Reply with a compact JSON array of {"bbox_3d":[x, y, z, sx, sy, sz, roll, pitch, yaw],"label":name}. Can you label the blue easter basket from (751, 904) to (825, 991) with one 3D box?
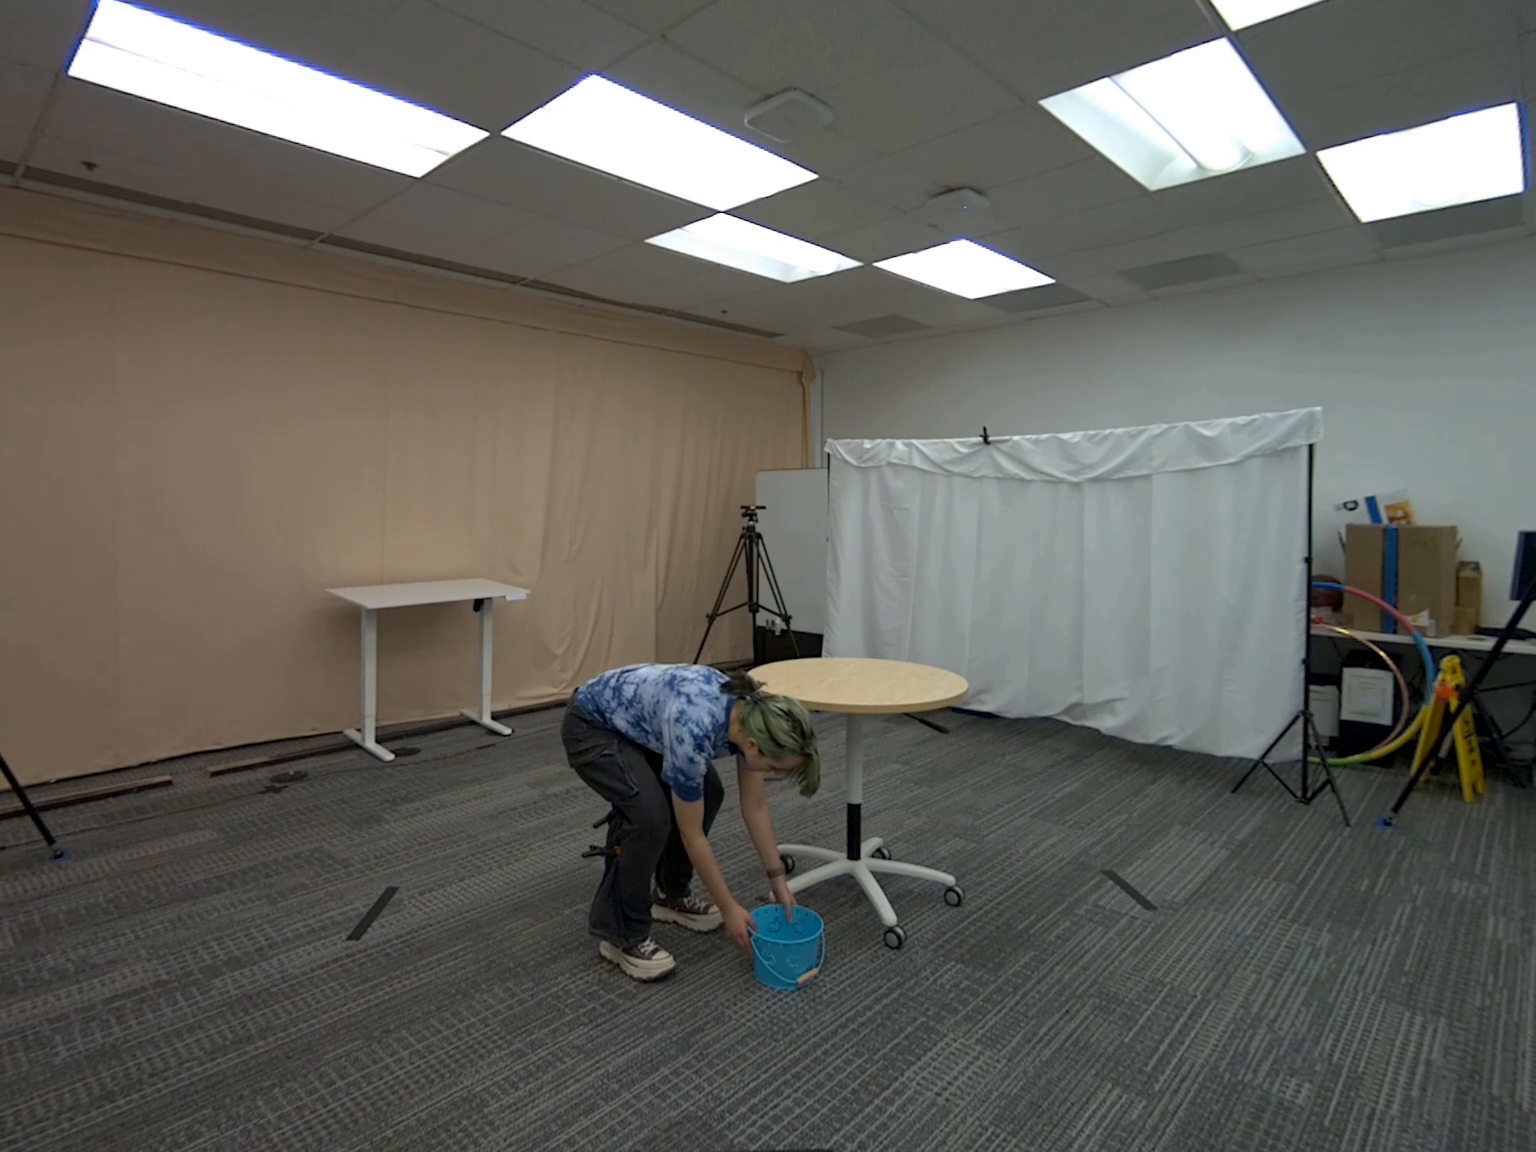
[{"bbox_3d":[0.053,1.107,2.502,0.243,0.155,0.244,-1,4,-2],"label":"blue easter basket"}]
